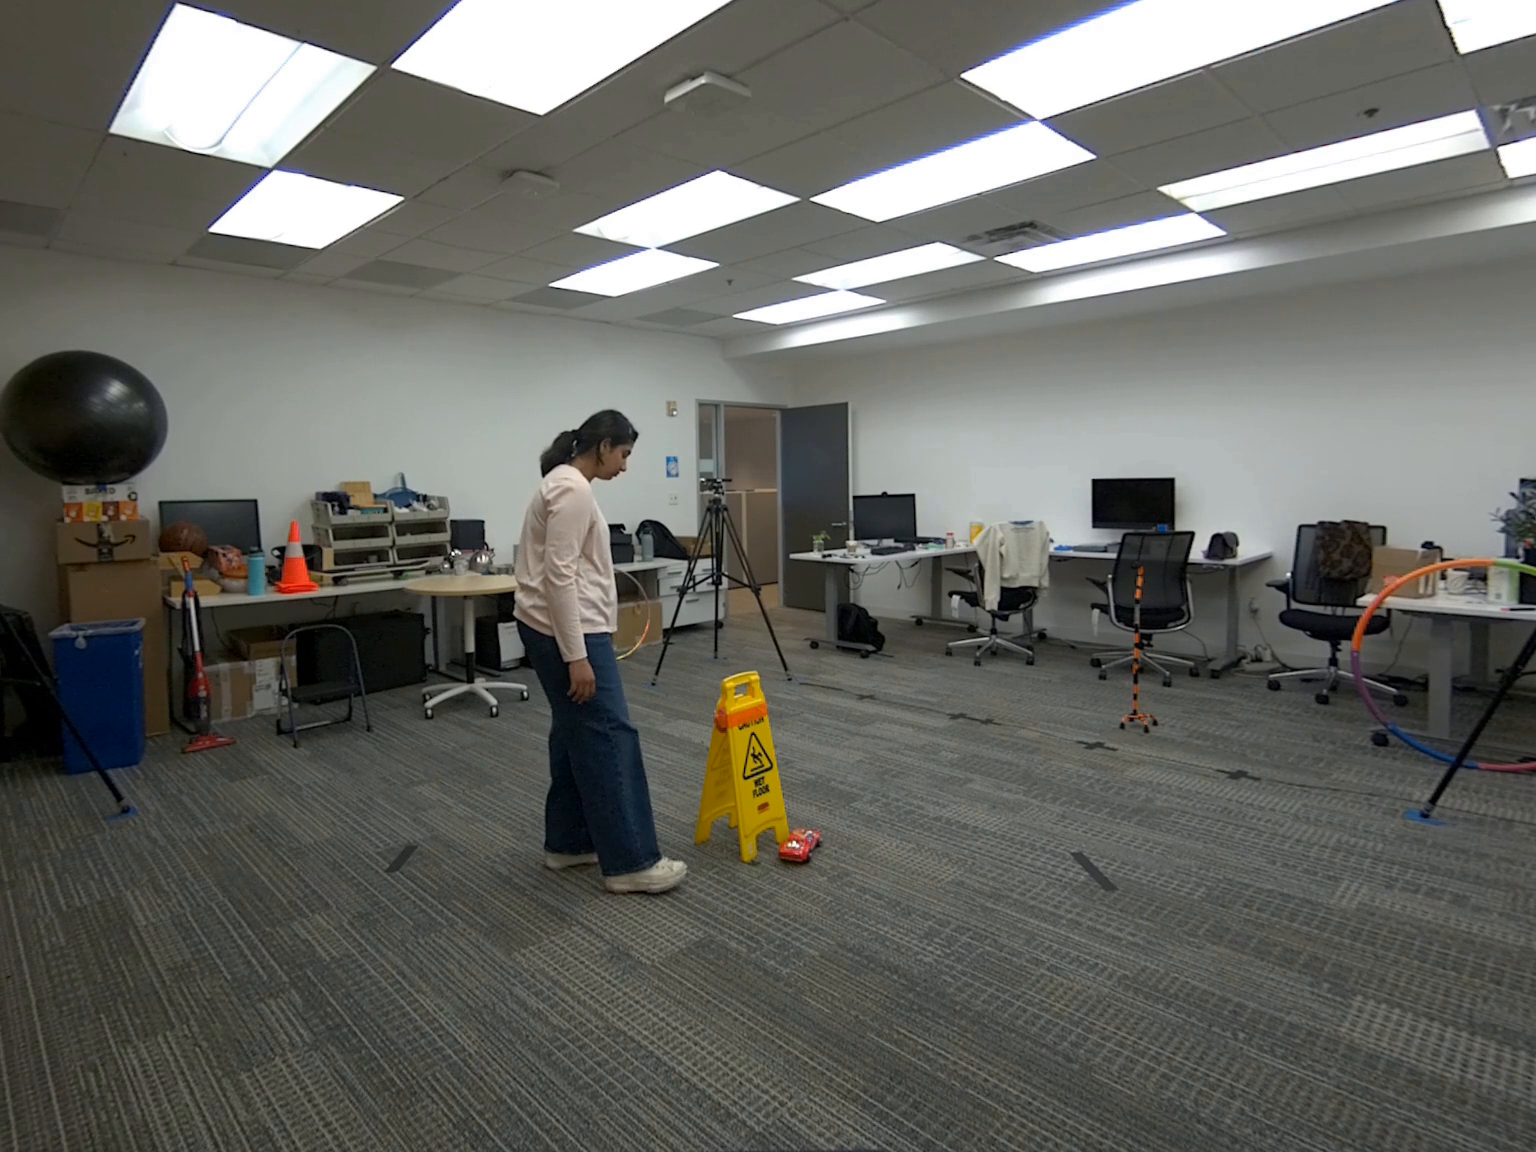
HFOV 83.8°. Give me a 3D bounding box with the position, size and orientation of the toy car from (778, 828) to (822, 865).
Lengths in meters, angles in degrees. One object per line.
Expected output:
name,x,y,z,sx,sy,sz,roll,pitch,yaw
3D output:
toy car,0.114,1.000,3.168,0.133,0.083,0.248,4,-4,20
